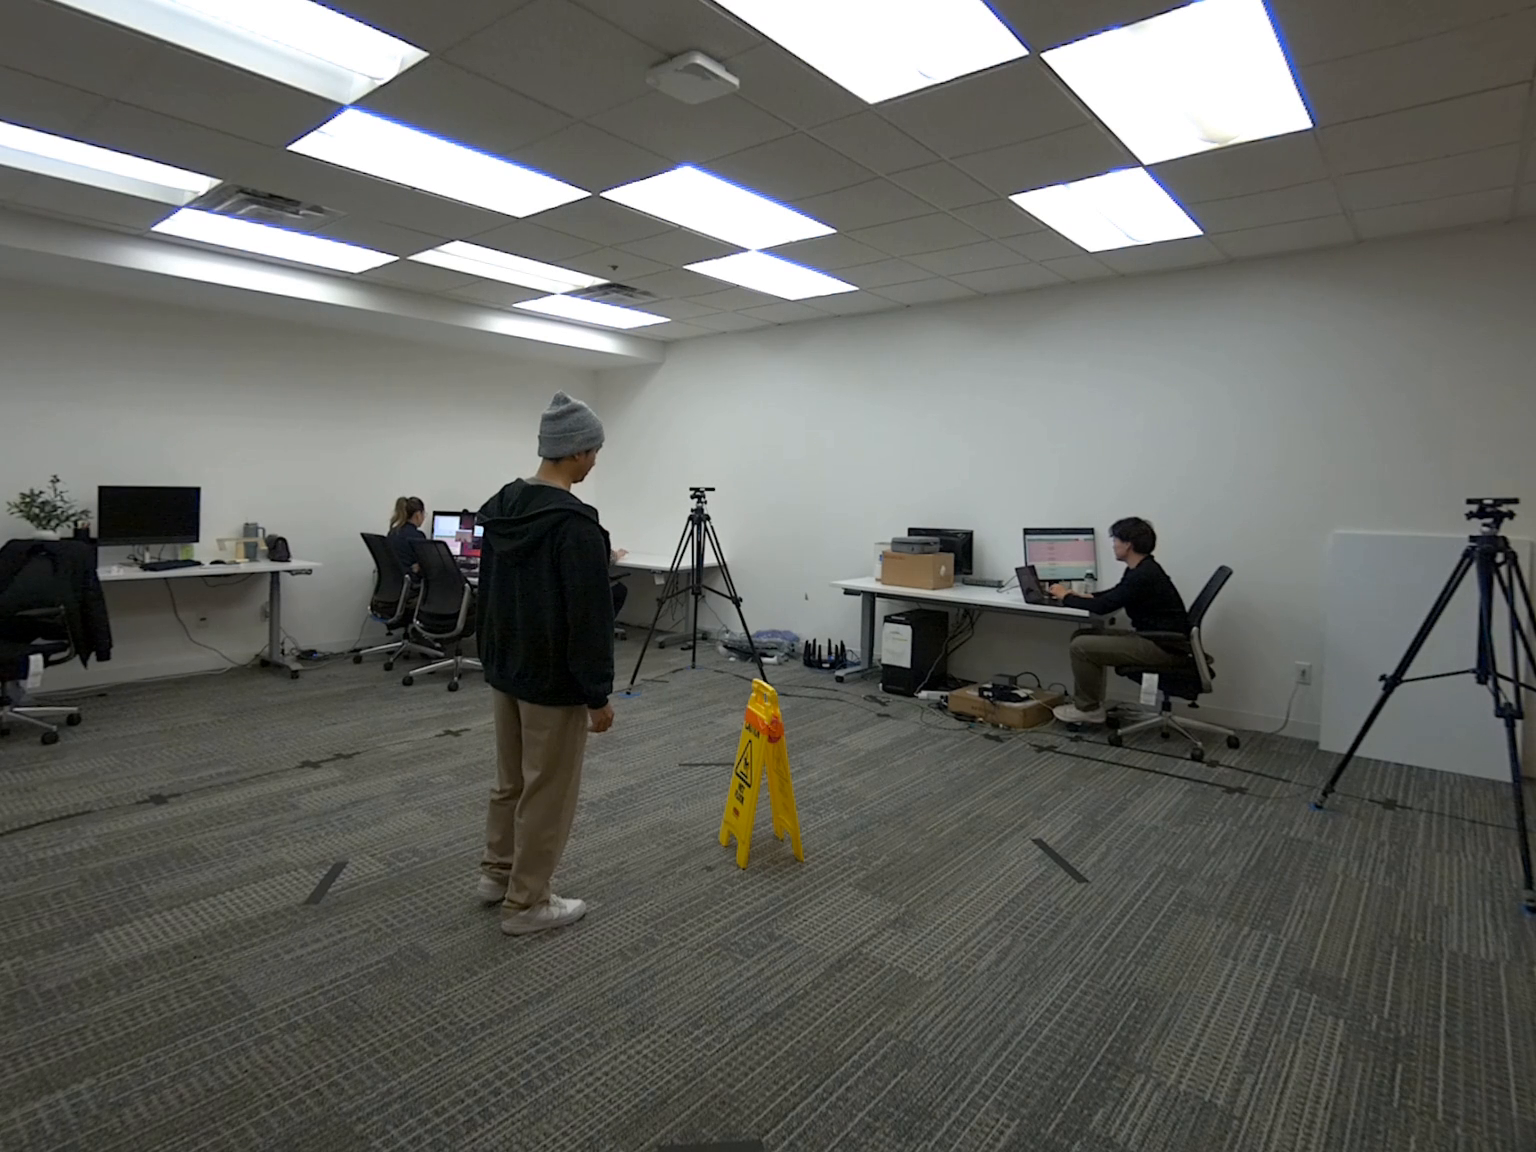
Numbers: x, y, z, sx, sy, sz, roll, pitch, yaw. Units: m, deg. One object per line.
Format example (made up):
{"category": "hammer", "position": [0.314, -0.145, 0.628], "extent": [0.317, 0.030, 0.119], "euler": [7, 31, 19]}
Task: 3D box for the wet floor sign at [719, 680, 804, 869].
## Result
{"category": "wet floor sign", "position": [-0.027, 0.726, 3.261], "extent": [0.284, 0.644, 0.289], "euler": [1, 4, -19]}
